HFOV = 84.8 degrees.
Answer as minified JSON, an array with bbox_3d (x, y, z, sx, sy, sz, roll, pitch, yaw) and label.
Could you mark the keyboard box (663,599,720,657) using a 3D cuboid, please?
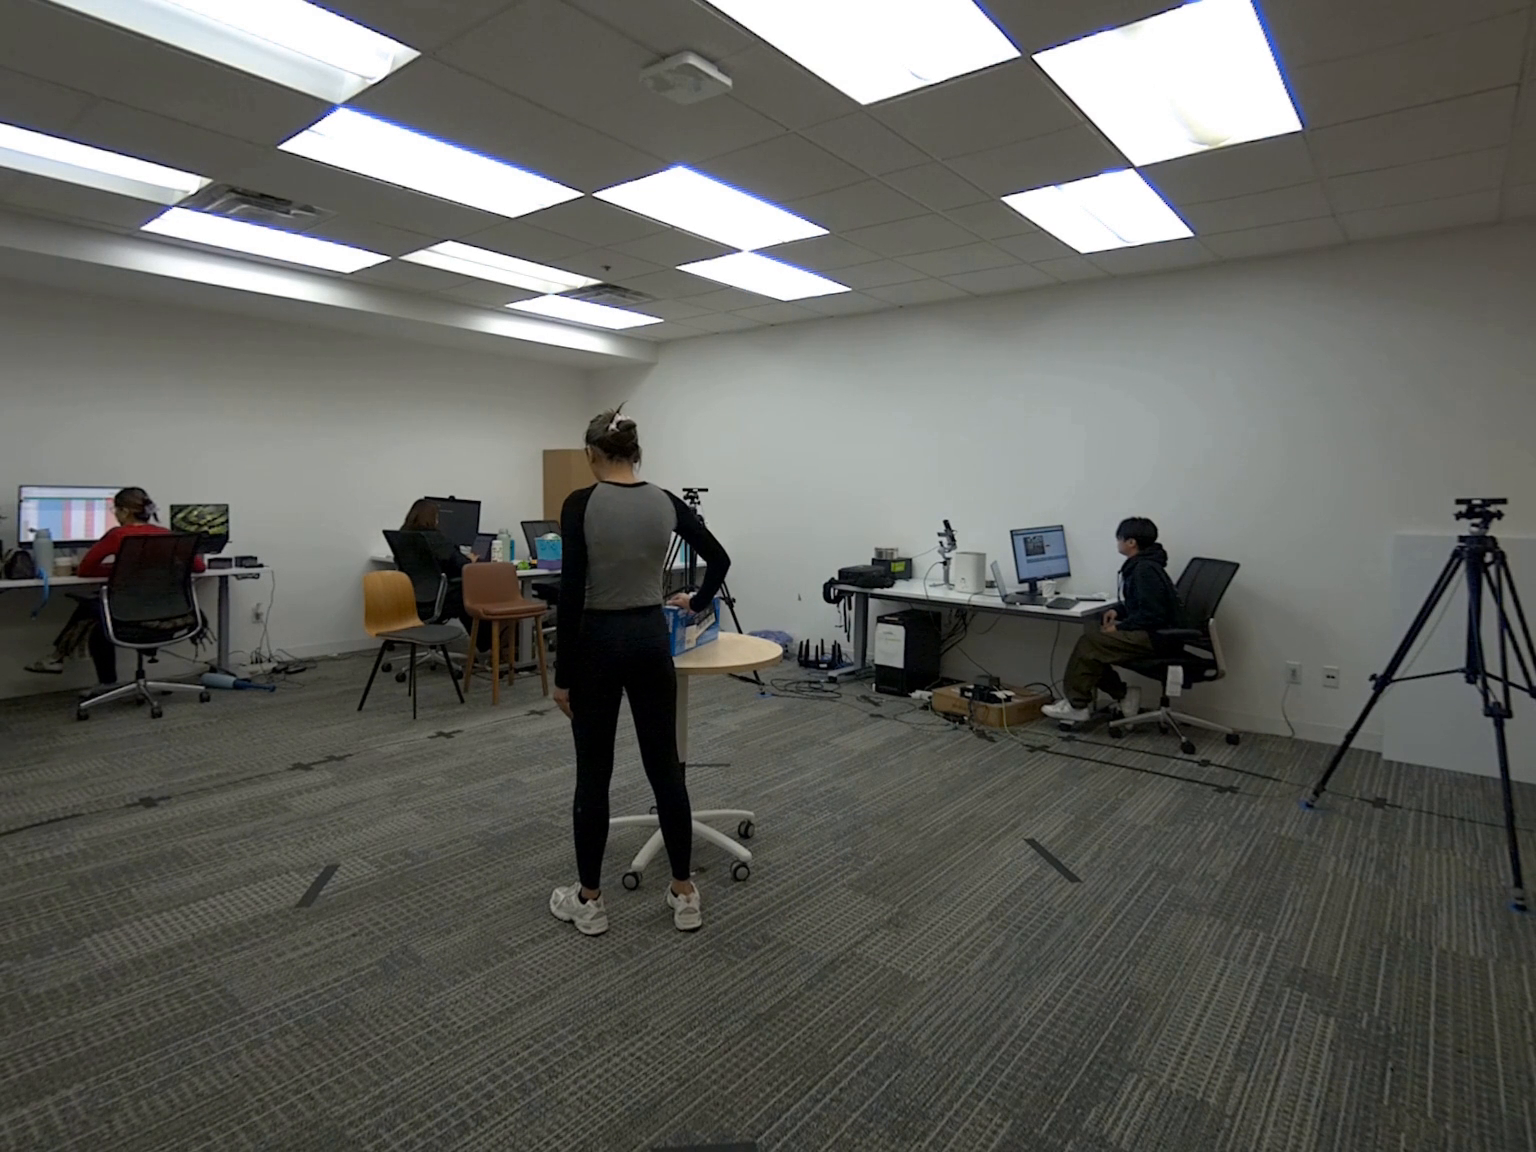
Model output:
[{"bbox_3d":[-0.298,0.179,3.218,0.060,0.175,0.430,4,6,17],"label":"keyboard box"}]
